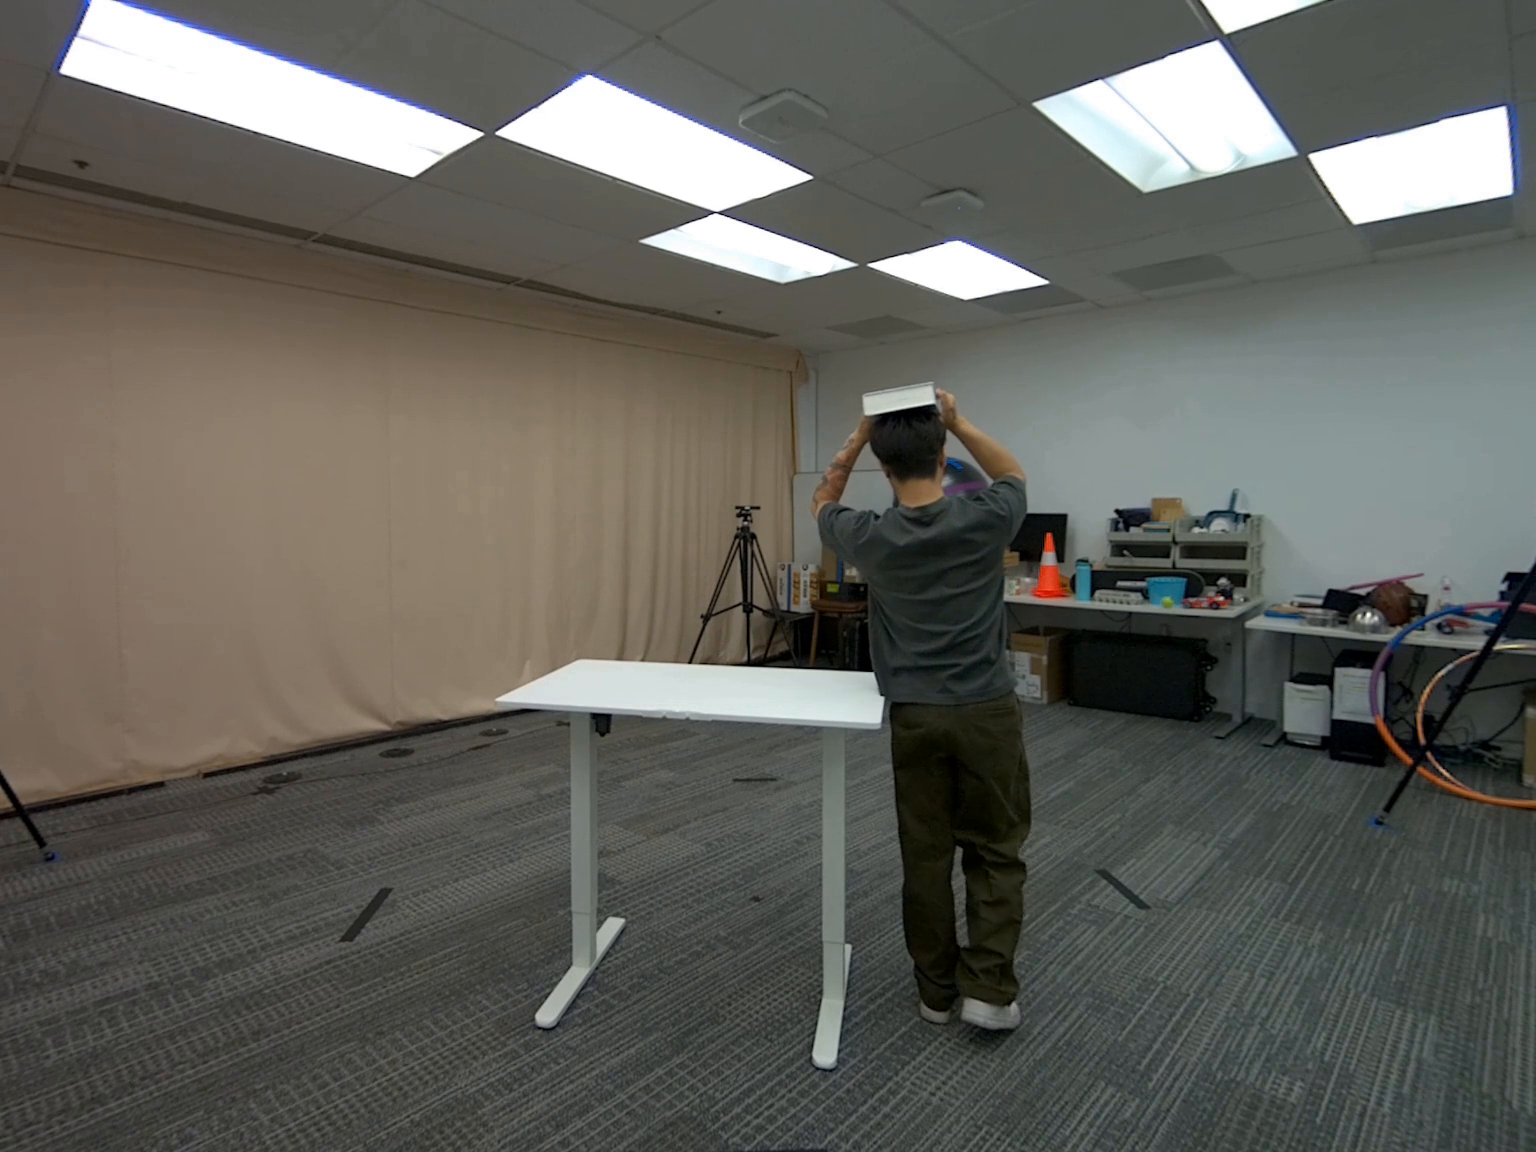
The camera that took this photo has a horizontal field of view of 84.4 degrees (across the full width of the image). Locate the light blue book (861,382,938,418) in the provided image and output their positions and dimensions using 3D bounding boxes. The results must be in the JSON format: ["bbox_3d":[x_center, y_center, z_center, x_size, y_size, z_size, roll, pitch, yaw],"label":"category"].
[{"bbox_3d":[0.388,-0.470,2.334,0.194,0.059,0.257,-7,0,12],"label":"light blue book"}]
